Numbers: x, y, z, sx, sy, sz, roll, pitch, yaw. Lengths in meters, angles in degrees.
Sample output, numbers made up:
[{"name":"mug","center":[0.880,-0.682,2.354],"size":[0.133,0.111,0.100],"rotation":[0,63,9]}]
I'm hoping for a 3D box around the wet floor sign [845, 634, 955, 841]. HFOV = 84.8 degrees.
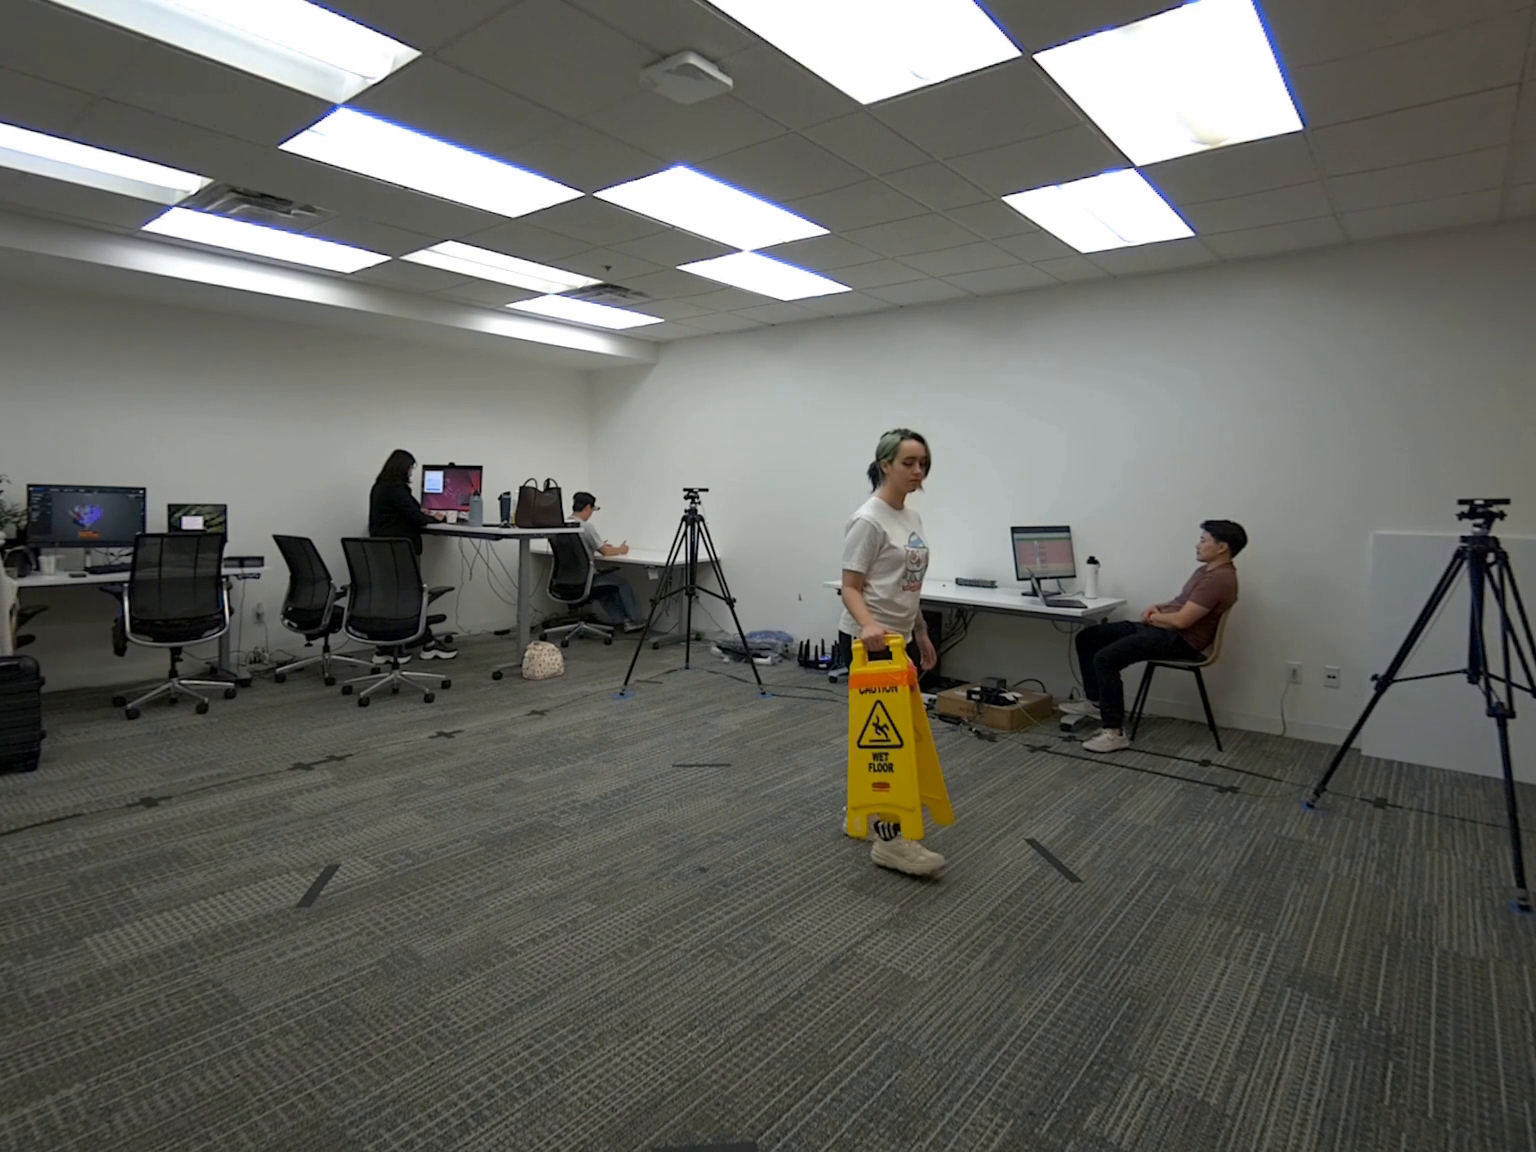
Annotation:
[{"name":"wet floor sign","center":[0.409,0.537,2.919],"size":[0.289,0.651,0.280],"rotation":[-12,-9,36]}]
